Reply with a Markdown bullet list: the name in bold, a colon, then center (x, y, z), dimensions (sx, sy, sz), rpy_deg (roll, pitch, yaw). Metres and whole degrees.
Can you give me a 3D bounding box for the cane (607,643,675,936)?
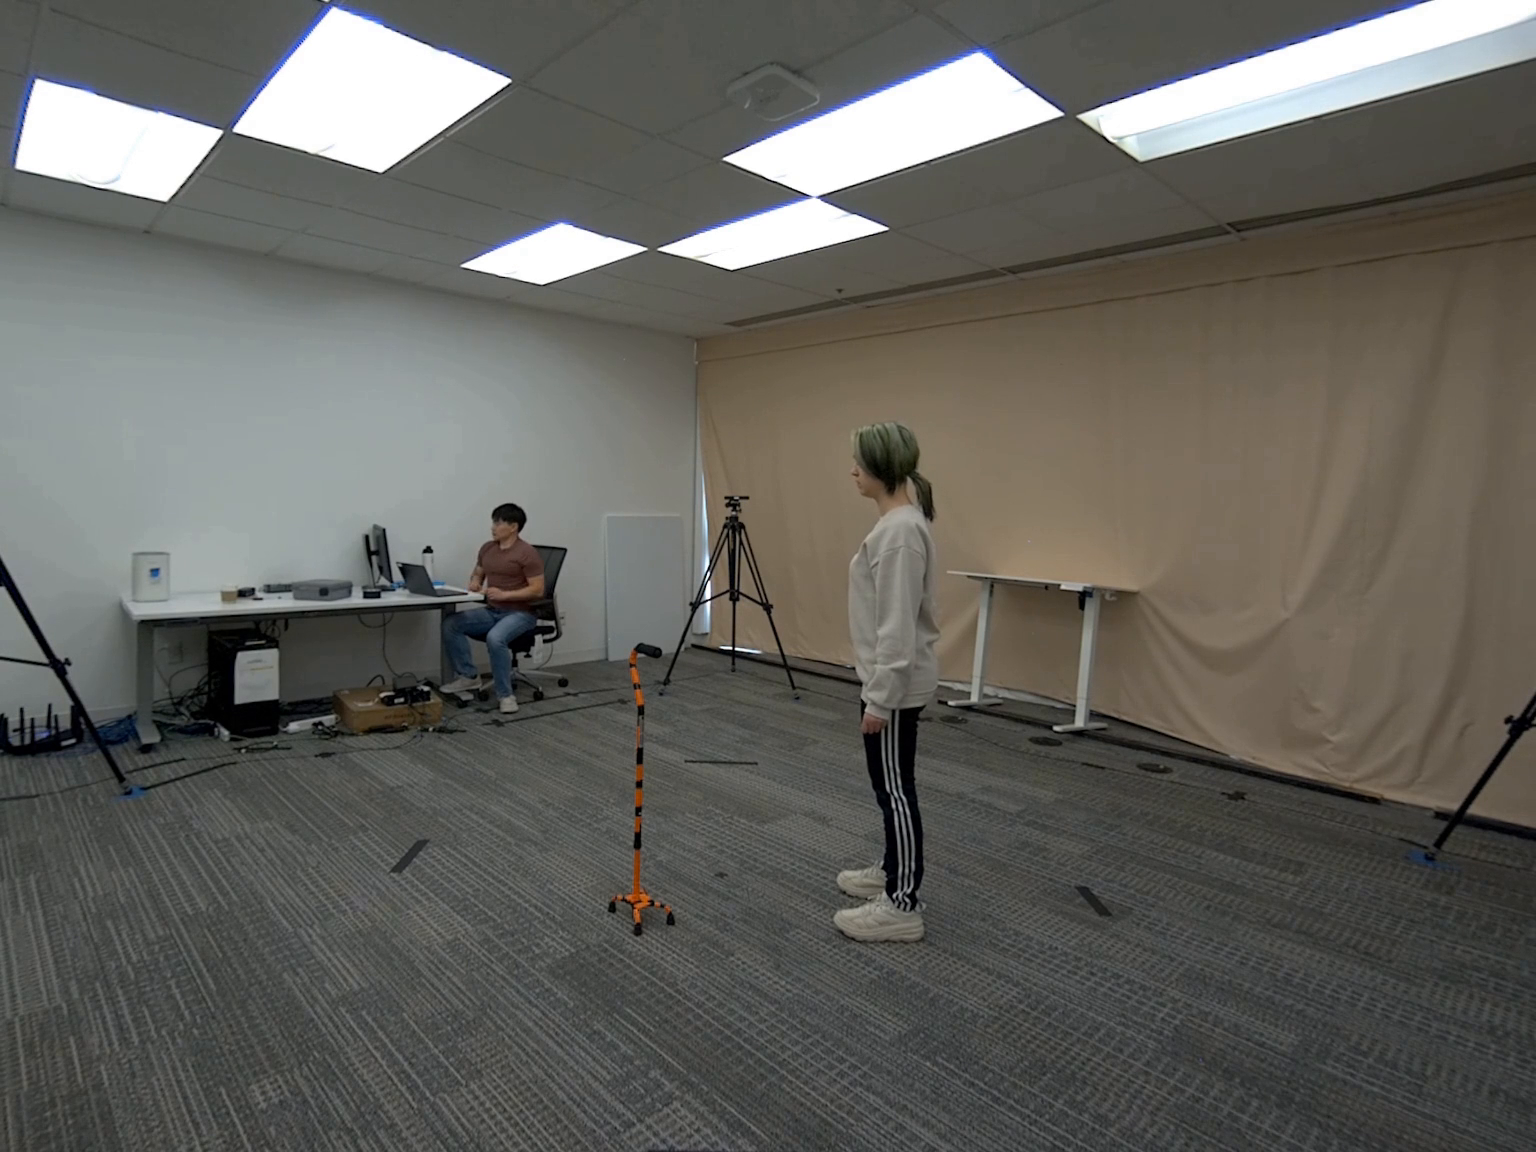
- **cane**: center (-0.411, 0.673, 2.757), dimensions (0.148, 0.906, 0.211), rpy_deg (0, 3, -37)
